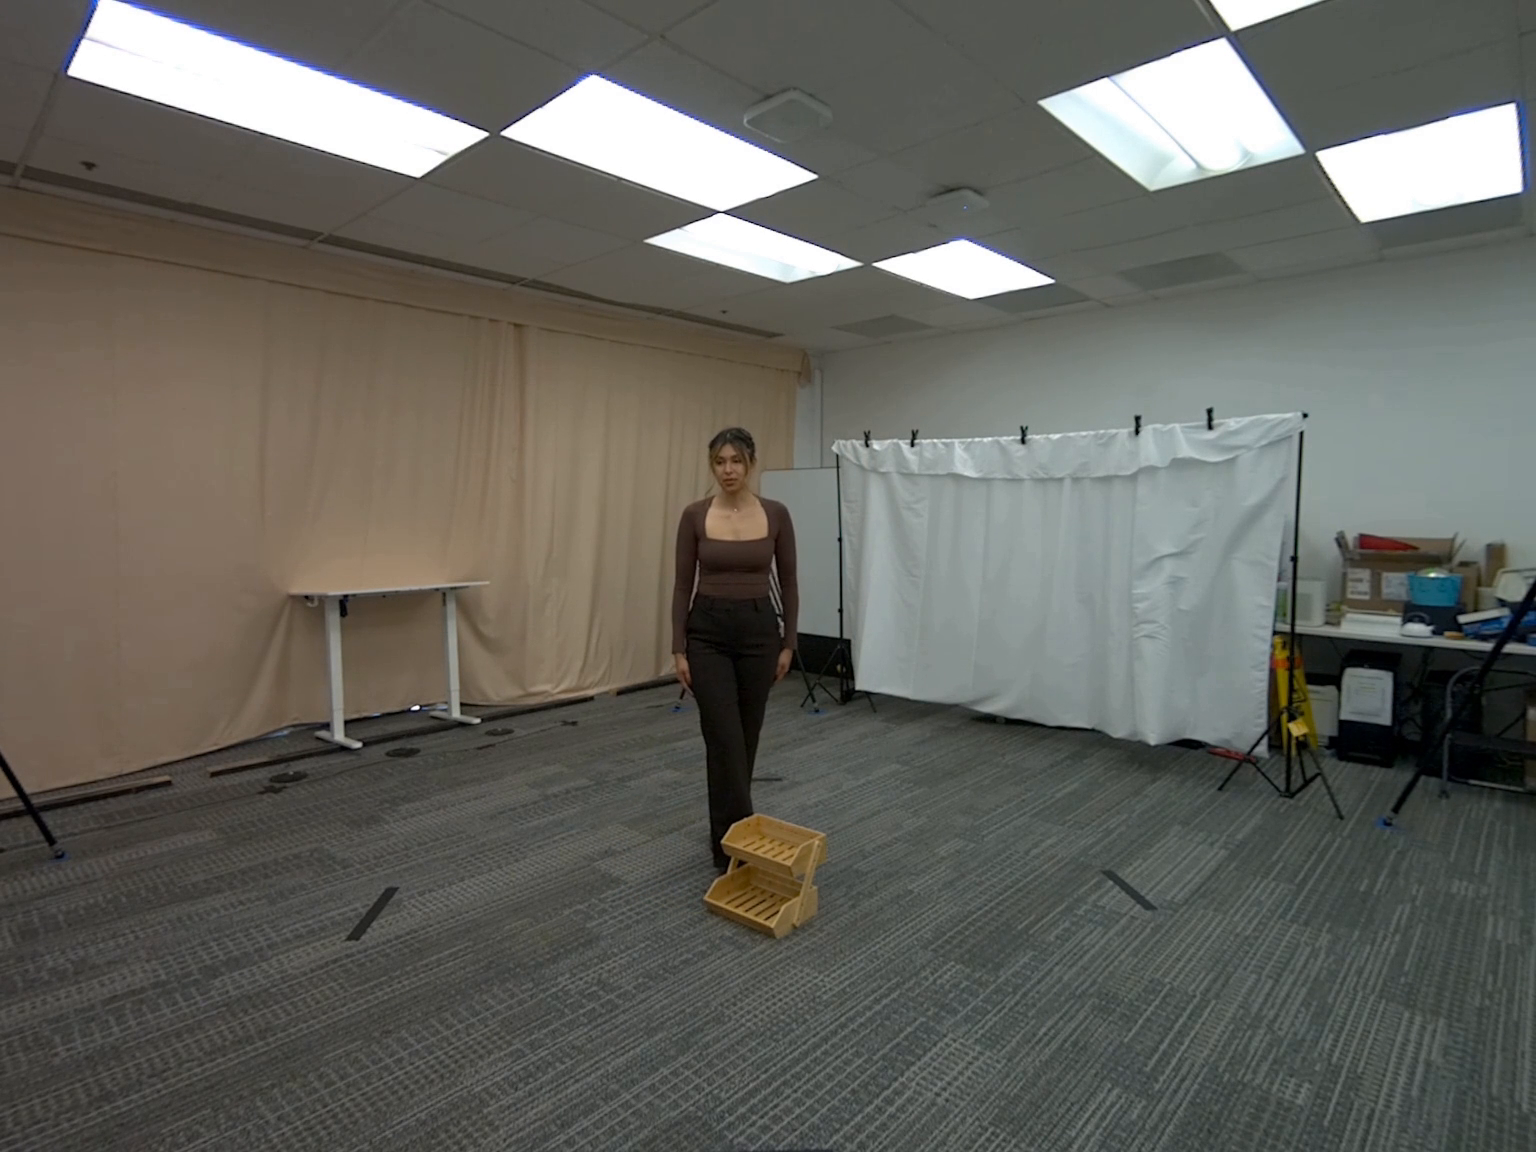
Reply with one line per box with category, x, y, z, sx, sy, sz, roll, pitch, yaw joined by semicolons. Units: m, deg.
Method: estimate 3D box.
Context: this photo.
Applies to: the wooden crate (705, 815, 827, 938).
wooden crate;-0.007;1.018;2.892;0.335;0.273;0.293;3;4;39
